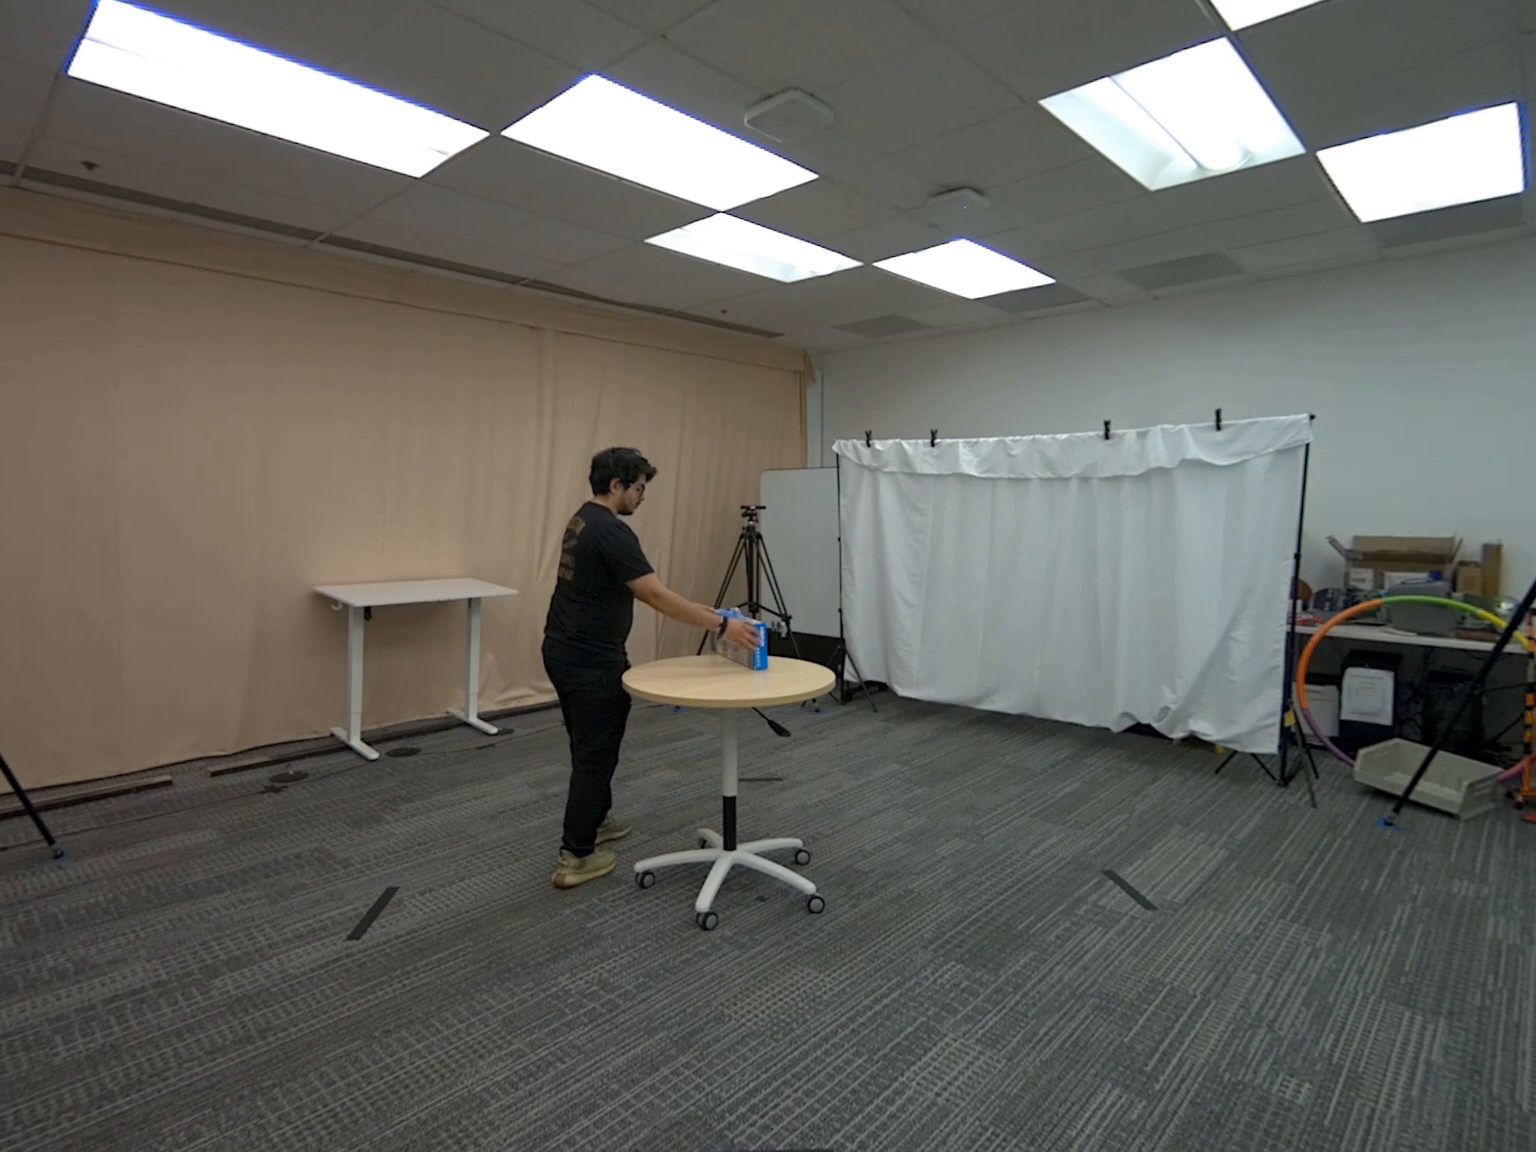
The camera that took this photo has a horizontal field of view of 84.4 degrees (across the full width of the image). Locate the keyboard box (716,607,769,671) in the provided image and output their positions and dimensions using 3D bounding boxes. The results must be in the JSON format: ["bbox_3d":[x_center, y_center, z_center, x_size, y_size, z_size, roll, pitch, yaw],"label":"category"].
[{"bbox_3d":[-0.118,0.245,3.305,0.058,0.175,0.448,-5,7,-24],"label":"keyboard box"}]
